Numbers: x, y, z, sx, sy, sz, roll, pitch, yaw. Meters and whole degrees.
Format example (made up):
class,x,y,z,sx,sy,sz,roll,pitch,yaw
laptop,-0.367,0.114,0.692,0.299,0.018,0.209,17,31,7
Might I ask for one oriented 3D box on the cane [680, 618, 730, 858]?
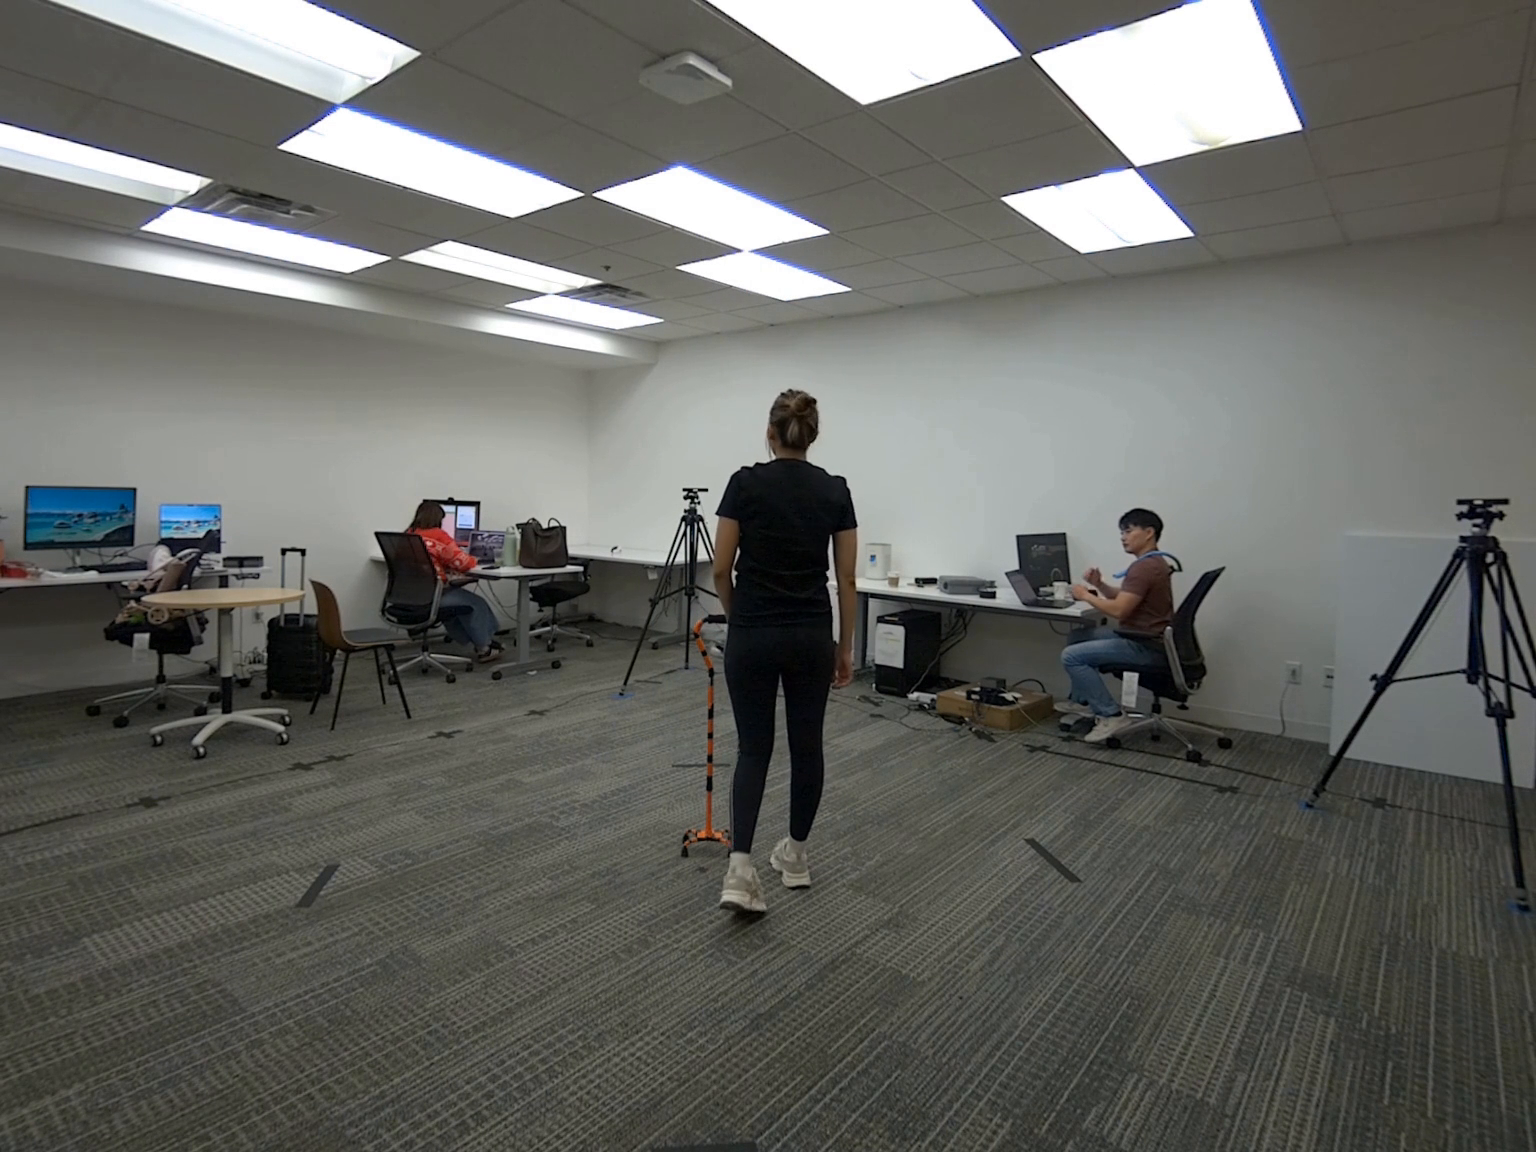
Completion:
class,x,y,z,sx,sy,sz,roll,pitch,yaw
cane,-0.227,0.600,3.260,0.206,0.905,0.152,1,3,-3
